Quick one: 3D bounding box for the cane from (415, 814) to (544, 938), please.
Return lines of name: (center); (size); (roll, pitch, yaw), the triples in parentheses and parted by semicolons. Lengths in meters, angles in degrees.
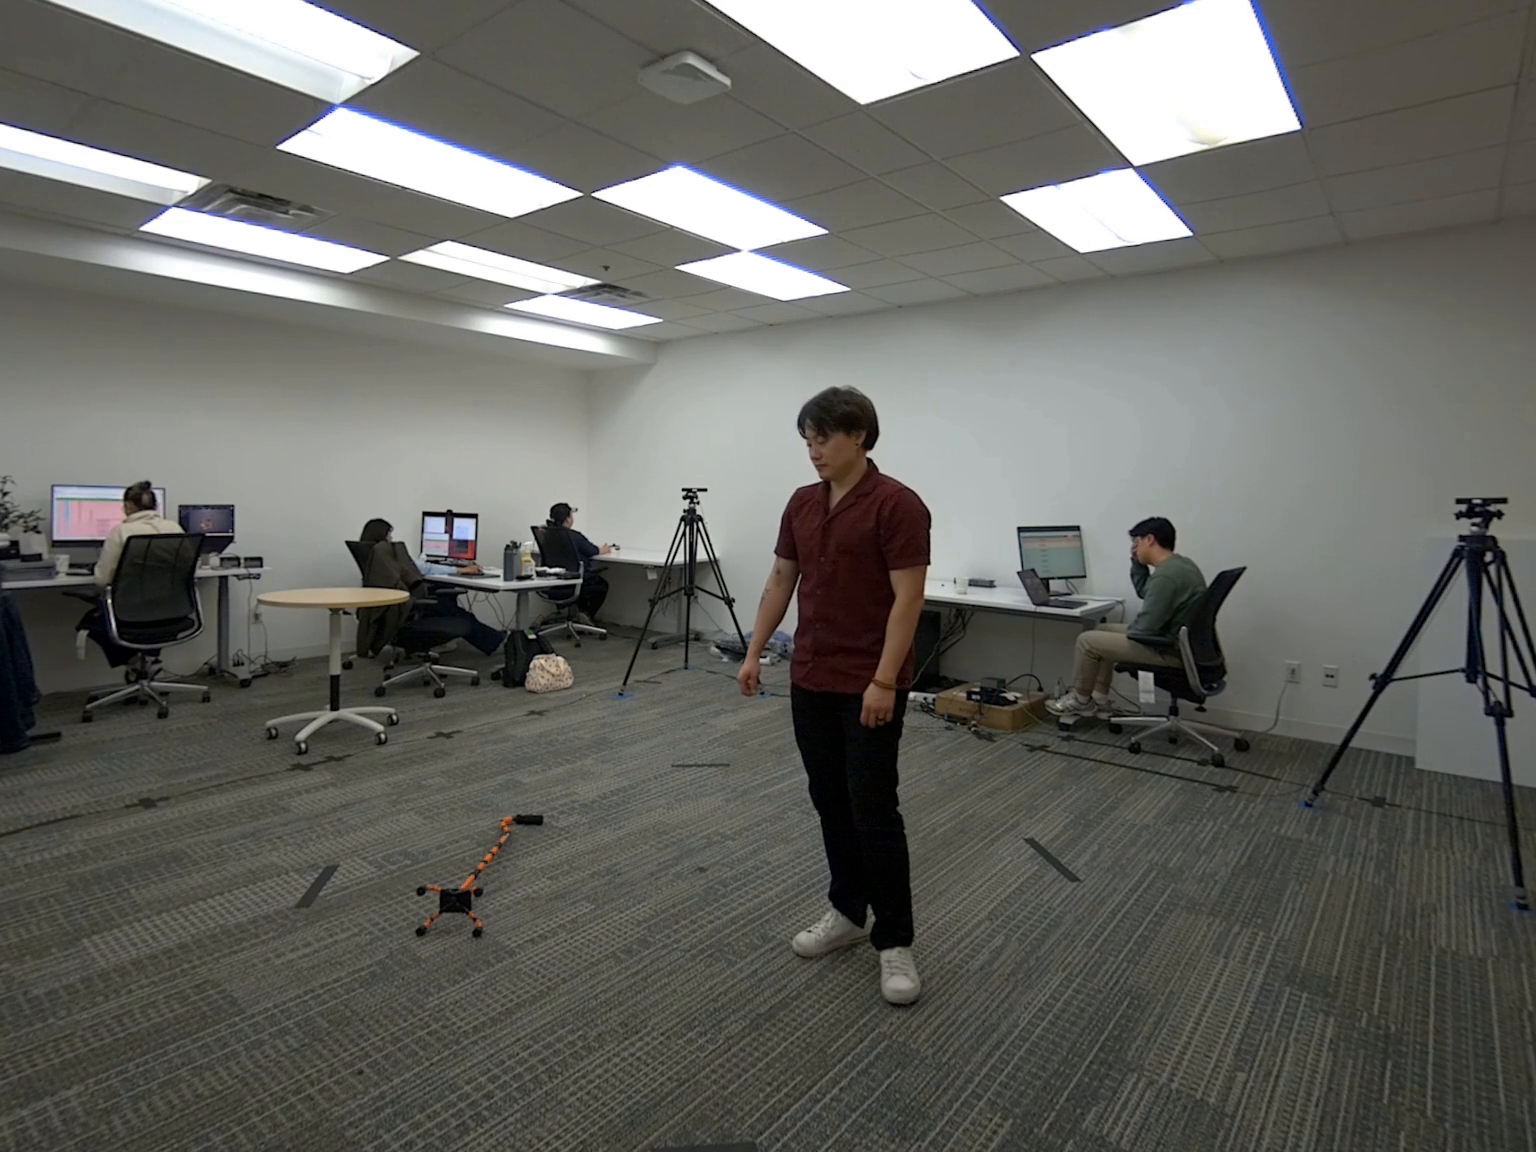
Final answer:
cane: (-1.014, 1.016, 3.068); (0.206, 0.151, 0.909); (1, 1, -3)
